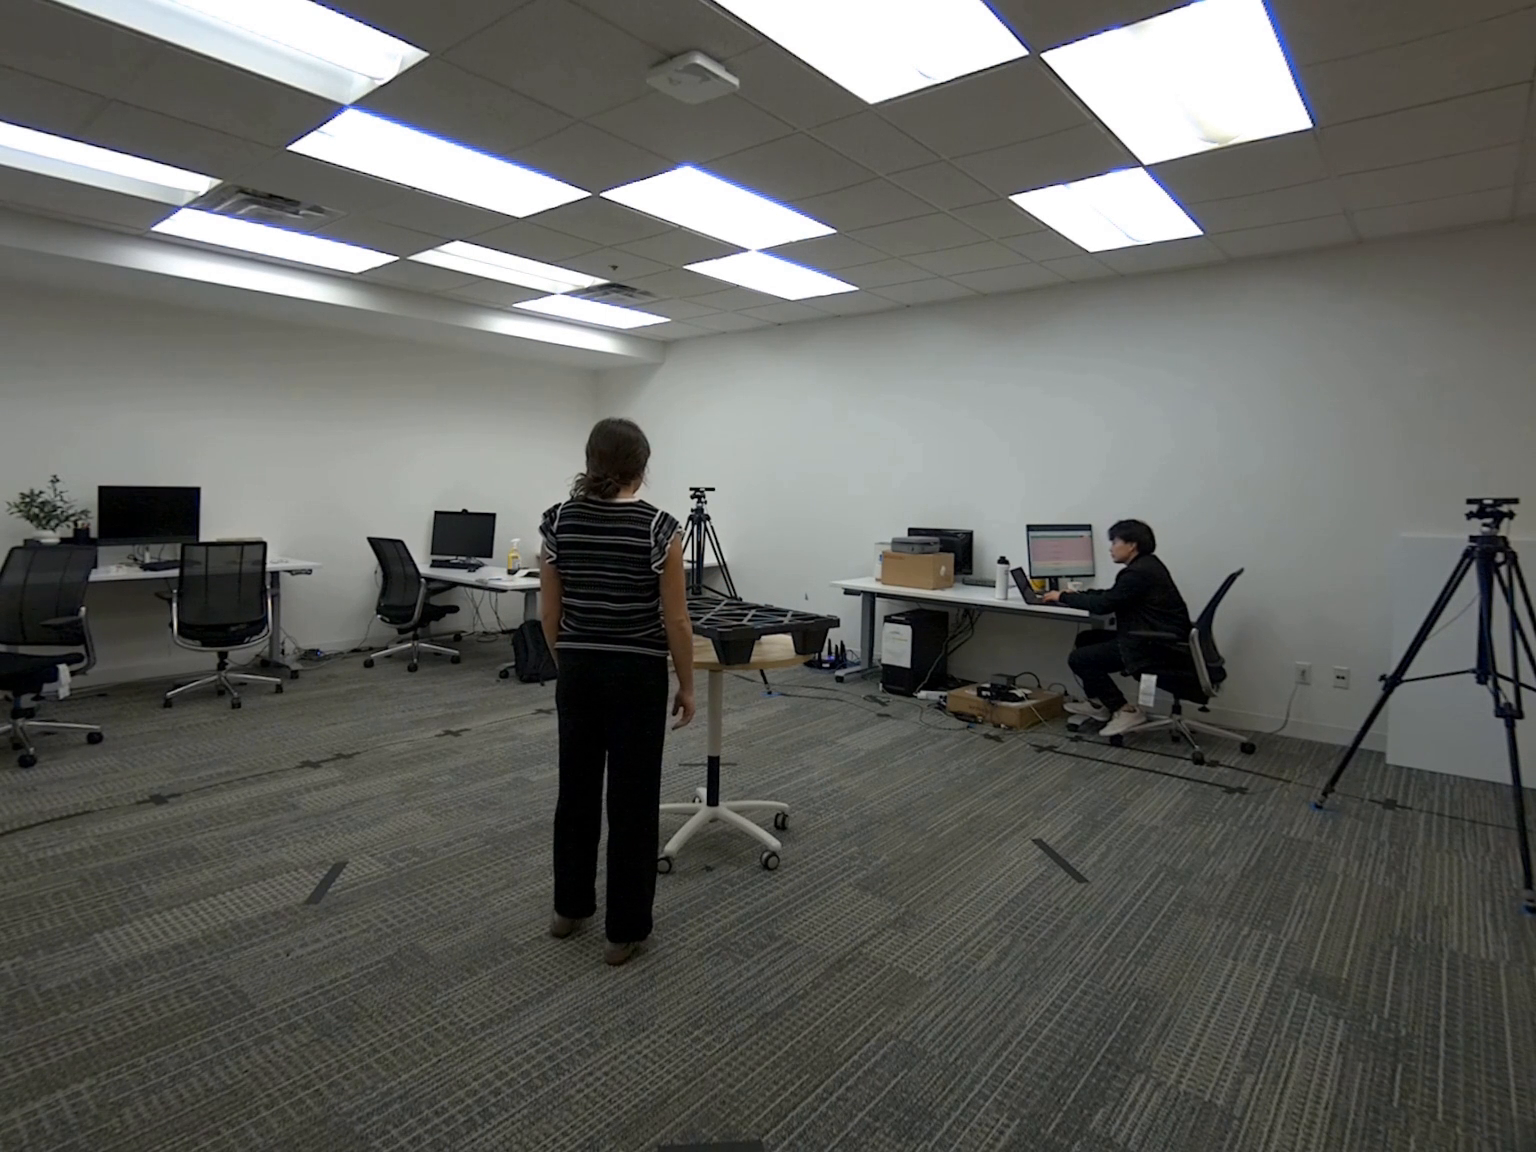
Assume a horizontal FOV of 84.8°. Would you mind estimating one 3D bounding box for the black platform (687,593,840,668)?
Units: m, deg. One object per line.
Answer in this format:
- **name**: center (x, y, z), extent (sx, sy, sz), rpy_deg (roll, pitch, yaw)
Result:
- **black platform**: center (-0.228, 0.199, 3.317), extent (0.587, 0.143, 0.833), rpy_deg (-3, 7, -41)
